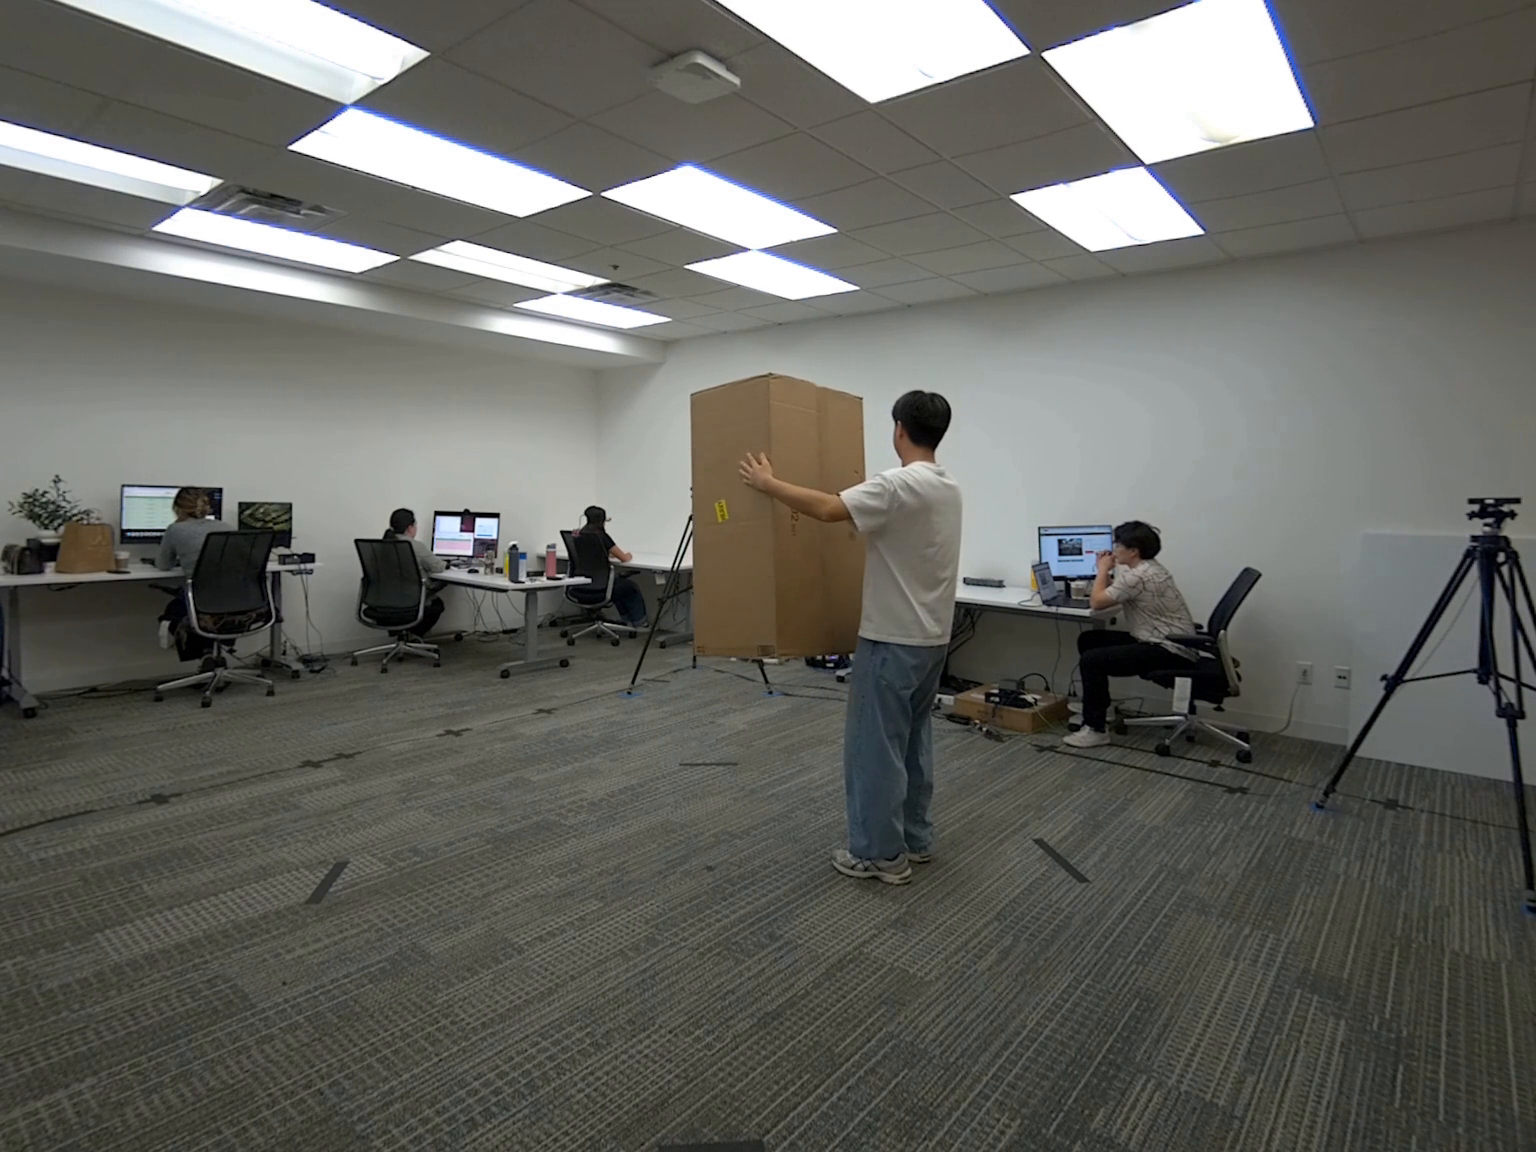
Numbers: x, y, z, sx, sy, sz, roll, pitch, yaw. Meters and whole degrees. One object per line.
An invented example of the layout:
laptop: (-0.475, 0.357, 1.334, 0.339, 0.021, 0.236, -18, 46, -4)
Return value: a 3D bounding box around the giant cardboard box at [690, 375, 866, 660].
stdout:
giant cardboard box: (0.043, -0.208, 3.346, 0.438, 1.031, 0.558, -6, -6, 43)
